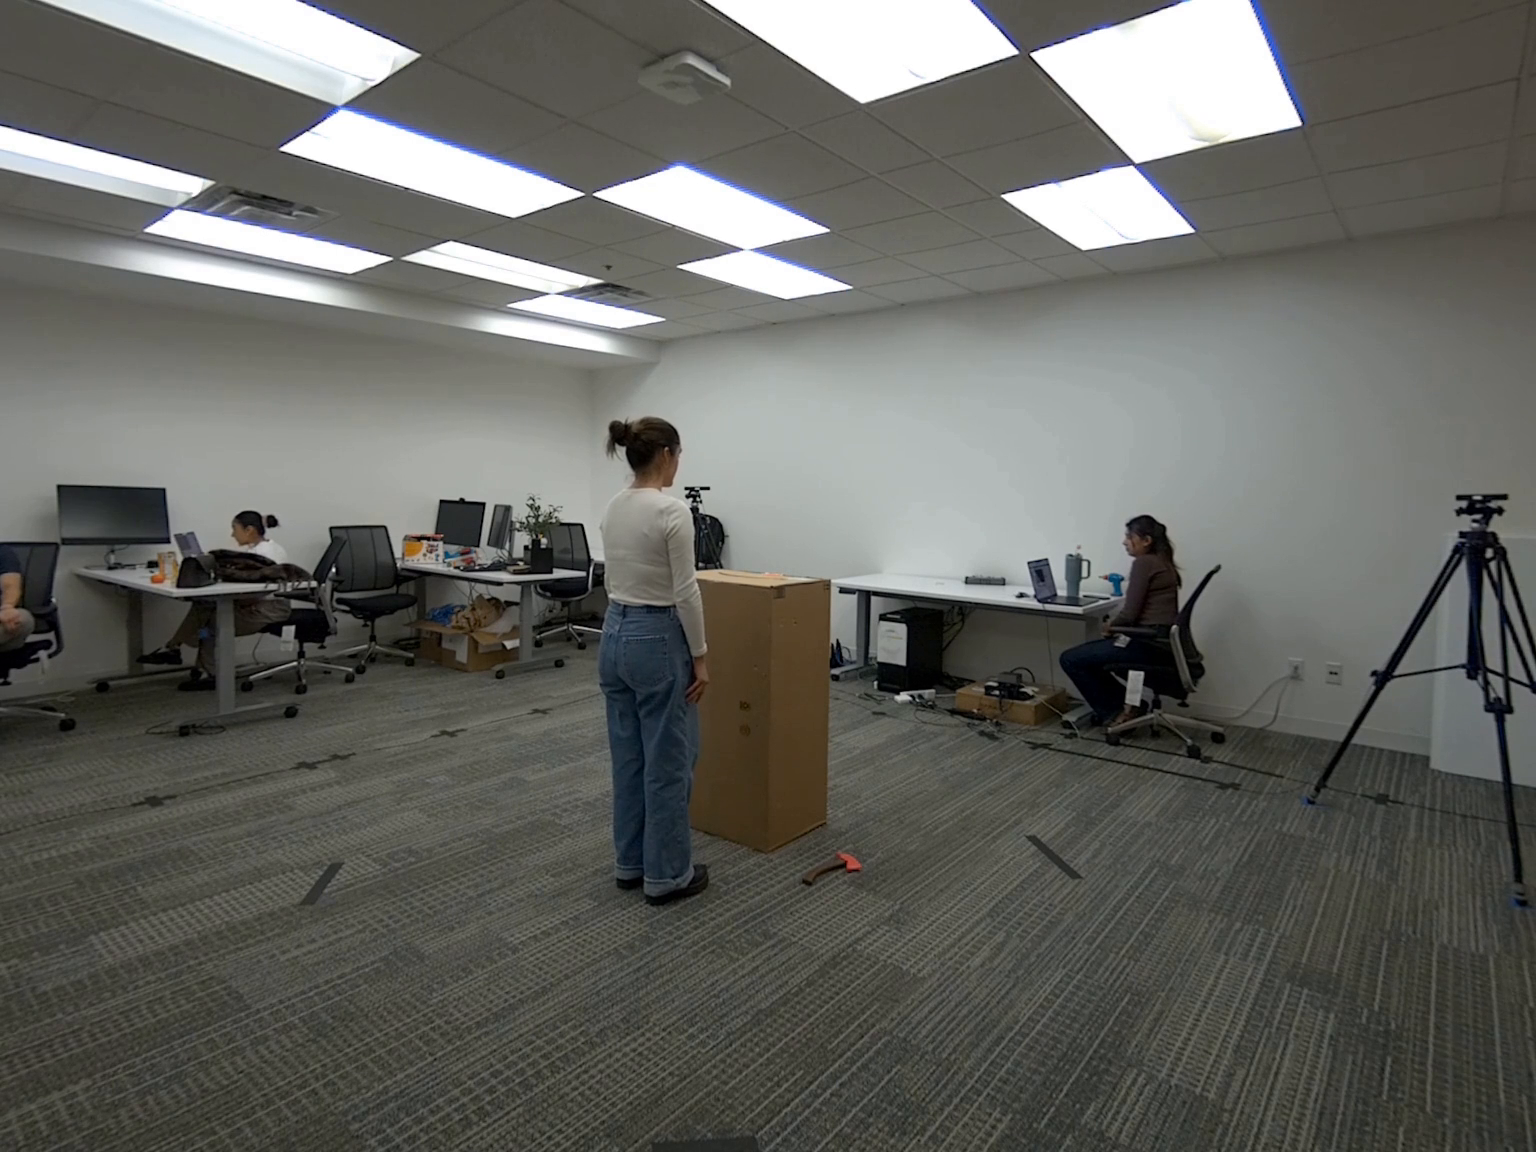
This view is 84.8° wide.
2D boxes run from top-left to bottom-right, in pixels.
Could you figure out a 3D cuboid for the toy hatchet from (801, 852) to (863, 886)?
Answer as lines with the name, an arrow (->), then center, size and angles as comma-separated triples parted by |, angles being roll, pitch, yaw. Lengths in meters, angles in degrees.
toy hatchet -> 0.232, 1.069, 3.072 | 0.135, 0.029, 0.263 | 8, 10, 34
